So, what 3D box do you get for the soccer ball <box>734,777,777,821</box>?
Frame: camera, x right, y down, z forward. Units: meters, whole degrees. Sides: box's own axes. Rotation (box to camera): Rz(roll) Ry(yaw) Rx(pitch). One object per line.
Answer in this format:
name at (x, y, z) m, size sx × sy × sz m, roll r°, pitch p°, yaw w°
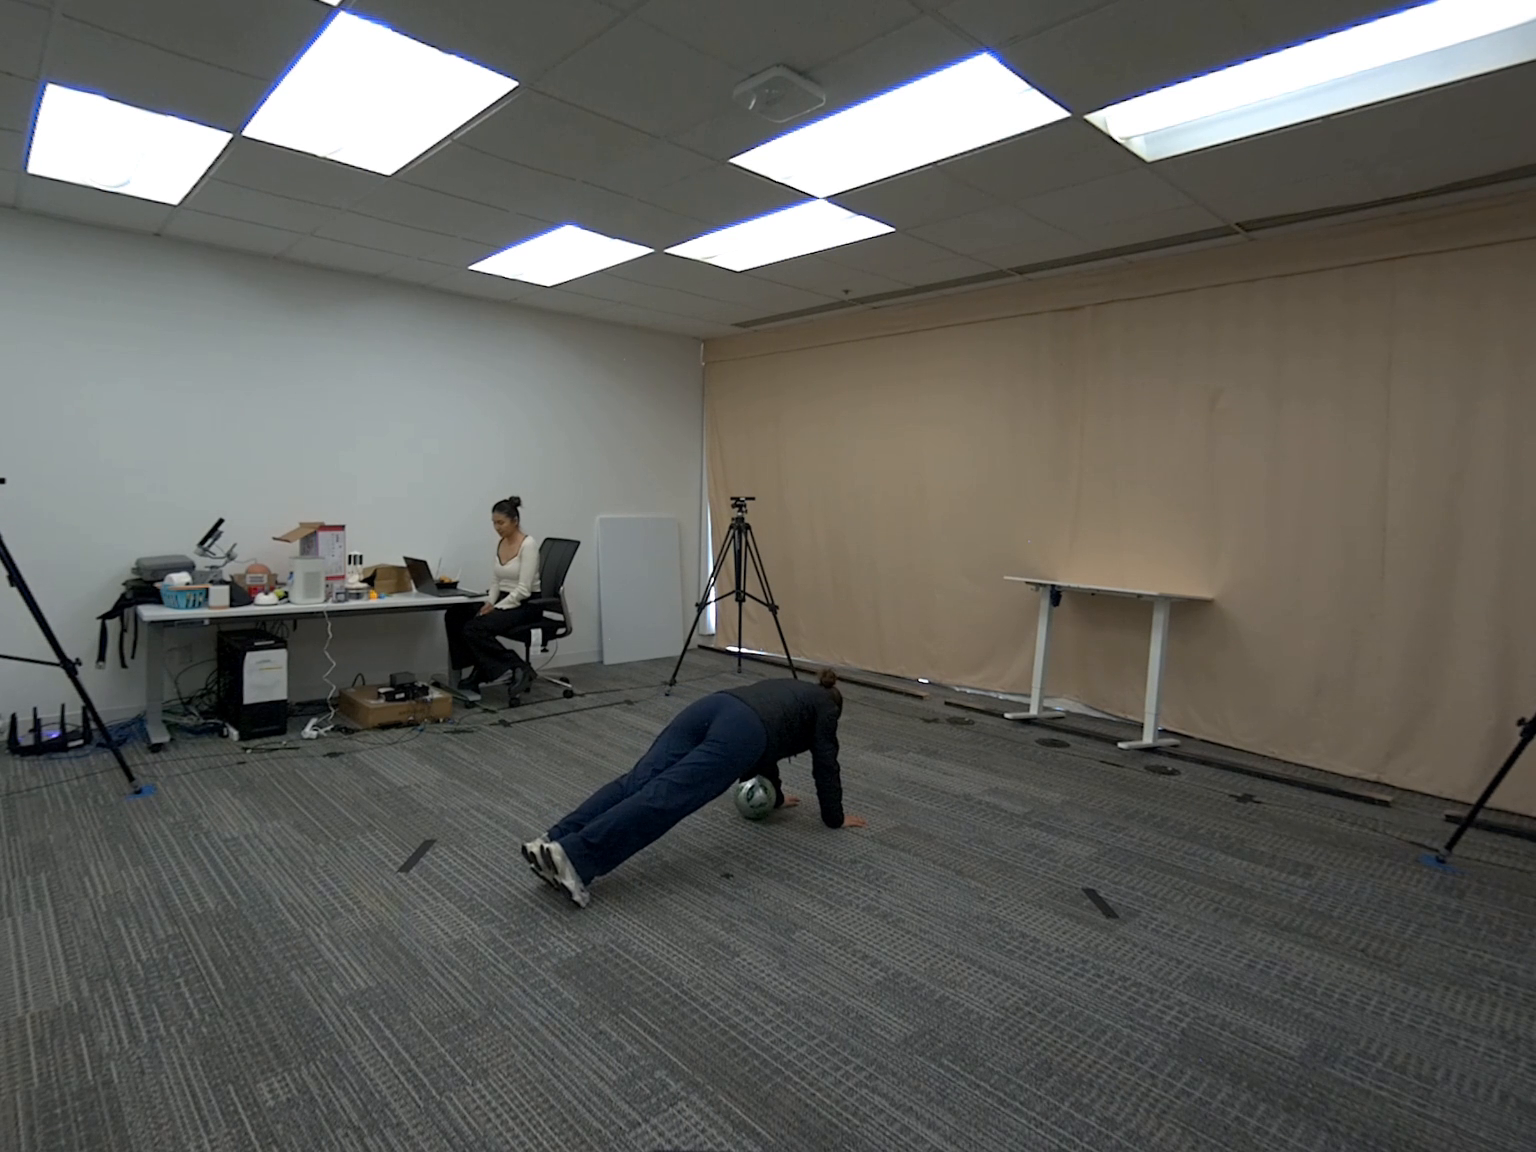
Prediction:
soccer ball at (-0.061, 0.963, 3.693) m, size 0.187 × 0.187 × 0.188 m, roll 1°, pitch 4°, yaw -1°
